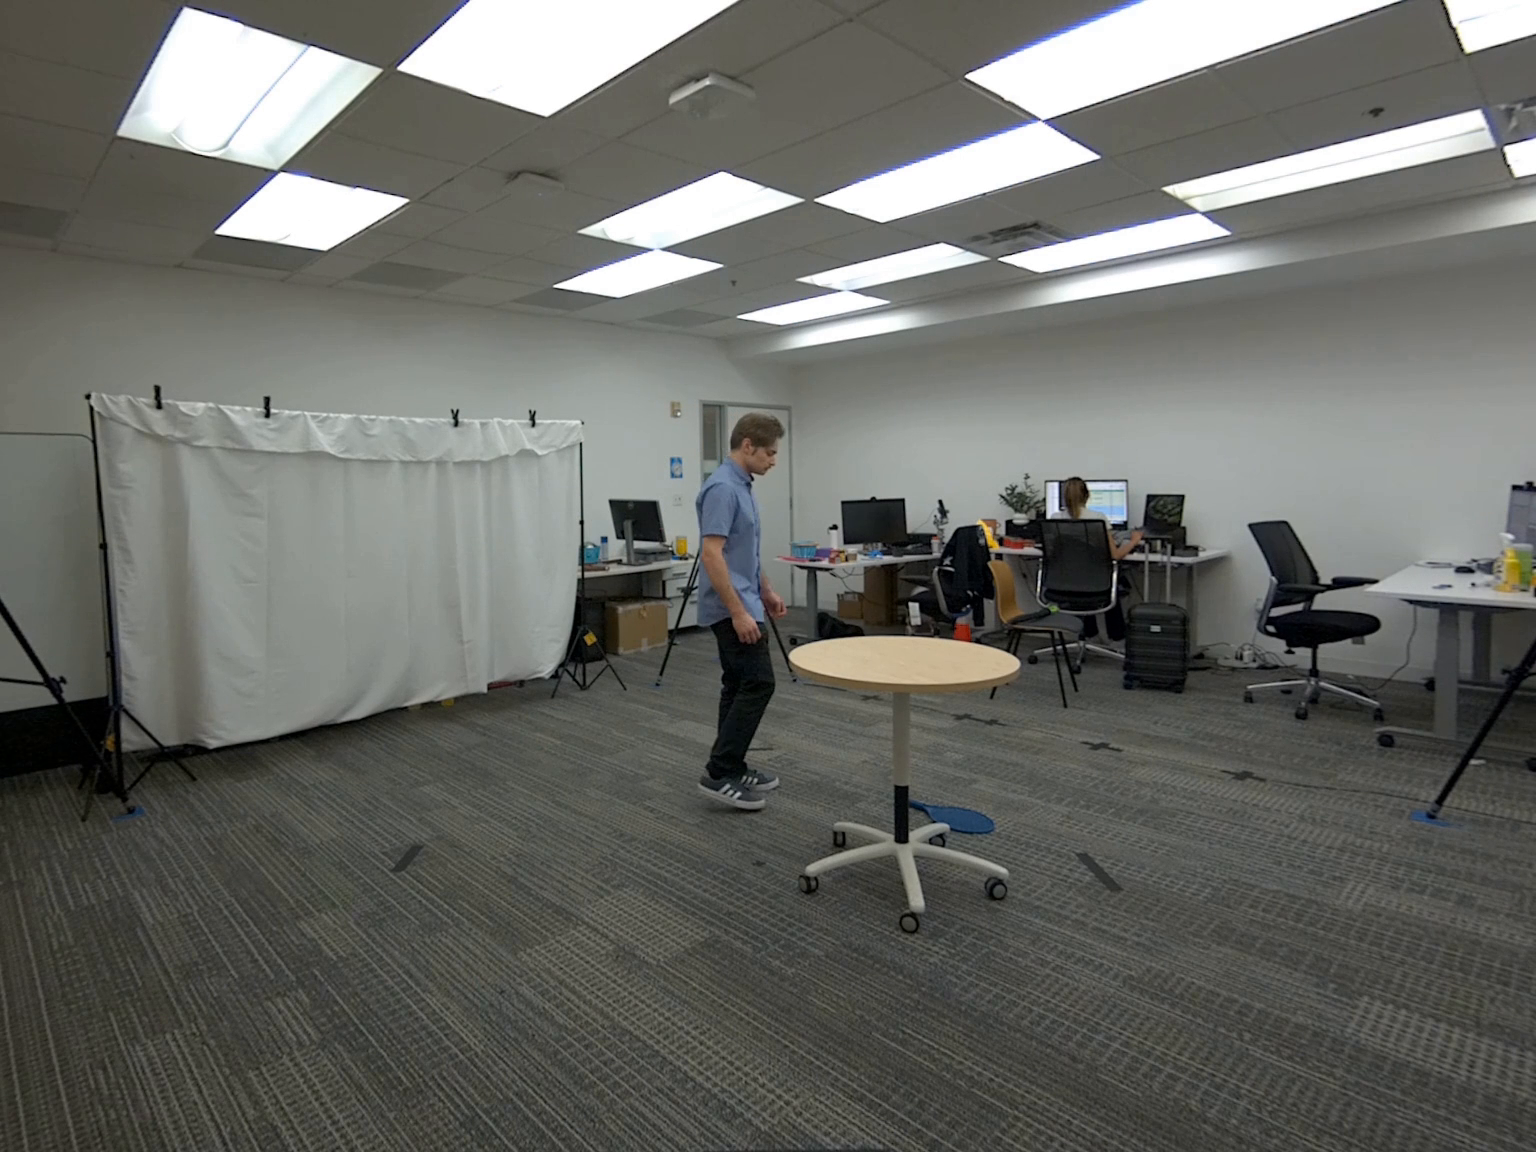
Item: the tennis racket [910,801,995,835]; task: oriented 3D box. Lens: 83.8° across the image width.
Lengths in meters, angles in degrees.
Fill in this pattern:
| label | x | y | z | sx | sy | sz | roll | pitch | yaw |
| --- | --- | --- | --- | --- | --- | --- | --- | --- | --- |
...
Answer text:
| label | x | y | z | sx | sy | sz | roll | pitch | yaw |
| --- | --- | --- | --- | --- | --- | --- | --- | --- | --- |
| tennis racket | 0.723 | 0.975 | 3.516 | 0.208 | 0.031 | 0.447 | -7 | 10 | -43 |
